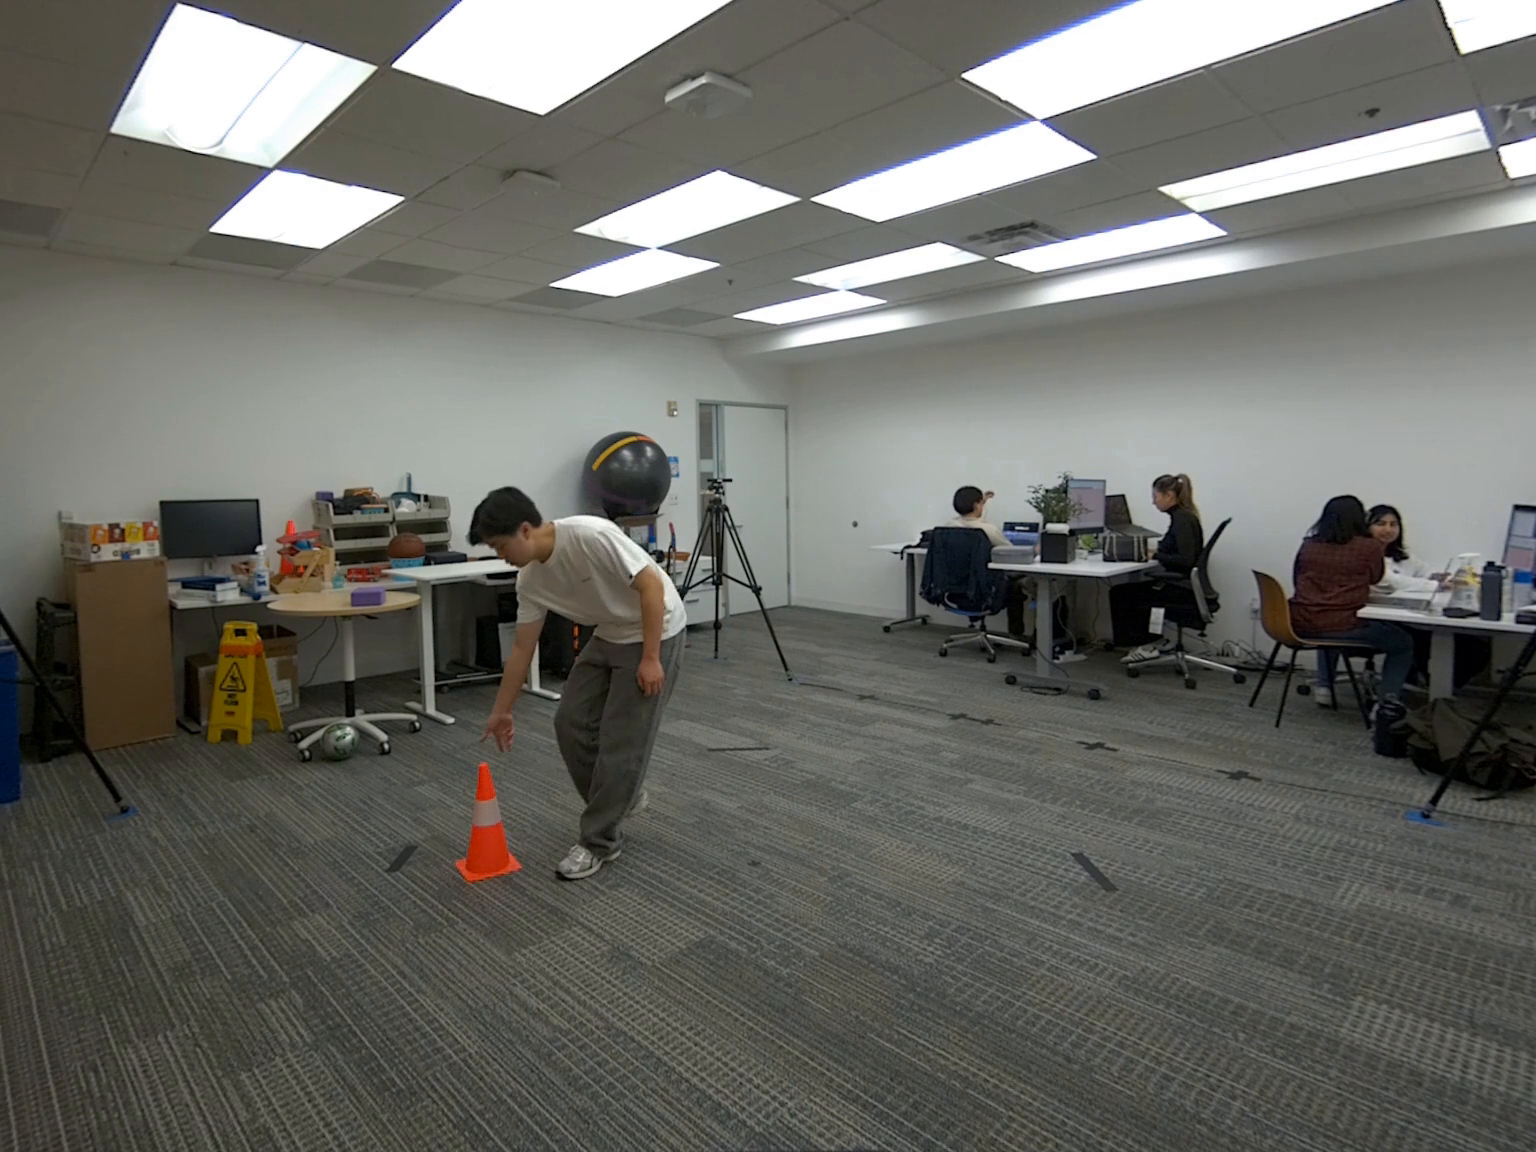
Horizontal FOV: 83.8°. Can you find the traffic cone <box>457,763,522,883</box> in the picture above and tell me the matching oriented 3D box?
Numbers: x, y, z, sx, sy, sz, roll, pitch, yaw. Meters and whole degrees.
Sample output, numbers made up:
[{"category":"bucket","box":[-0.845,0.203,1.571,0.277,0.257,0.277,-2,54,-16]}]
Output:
[{"category":"traffic cone","box":[-1.035,0.879,3.125,0.200,0.382,0.209,-5,6,-34]}]
